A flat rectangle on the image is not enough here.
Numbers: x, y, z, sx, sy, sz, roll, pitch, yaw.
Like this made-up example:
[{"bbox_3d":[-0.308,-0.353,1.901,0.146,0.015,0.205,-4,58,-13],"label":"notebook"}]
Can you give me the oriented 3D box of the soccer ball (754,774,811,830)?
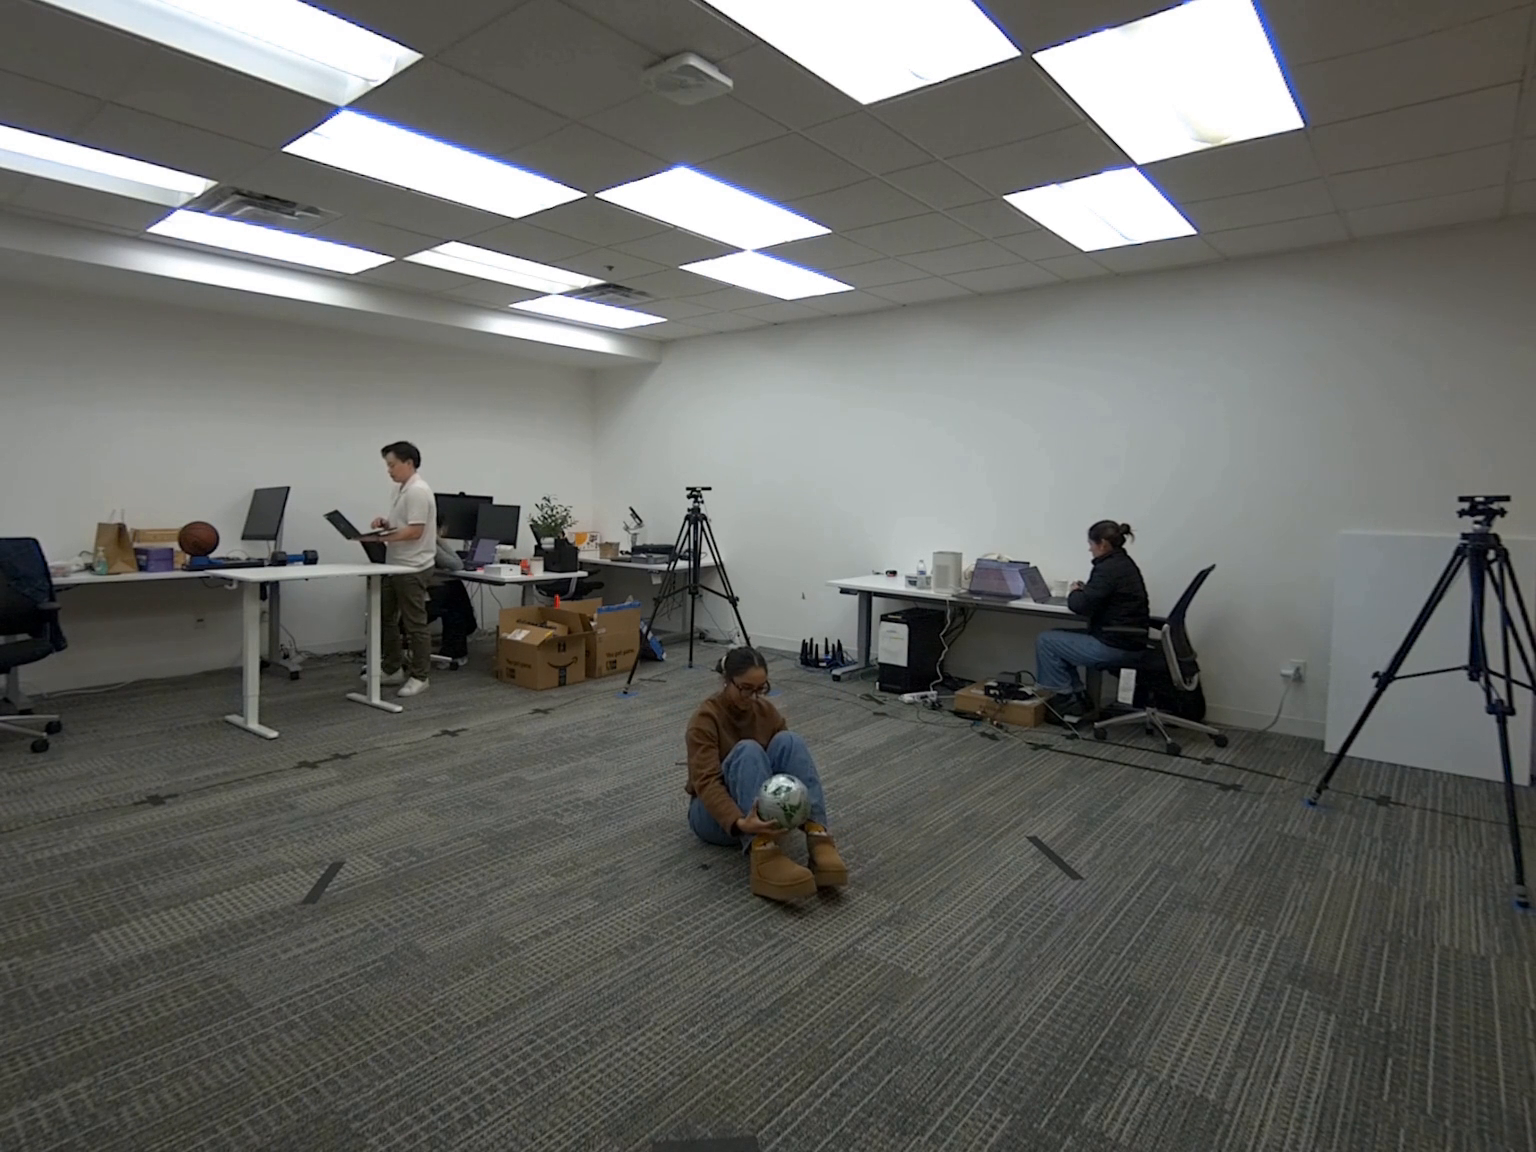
[{"bbox_3d":[0.036,0.779,2.927,0.187,0.187,0.188,1,4,-2],"label":"soccer ball"}]
